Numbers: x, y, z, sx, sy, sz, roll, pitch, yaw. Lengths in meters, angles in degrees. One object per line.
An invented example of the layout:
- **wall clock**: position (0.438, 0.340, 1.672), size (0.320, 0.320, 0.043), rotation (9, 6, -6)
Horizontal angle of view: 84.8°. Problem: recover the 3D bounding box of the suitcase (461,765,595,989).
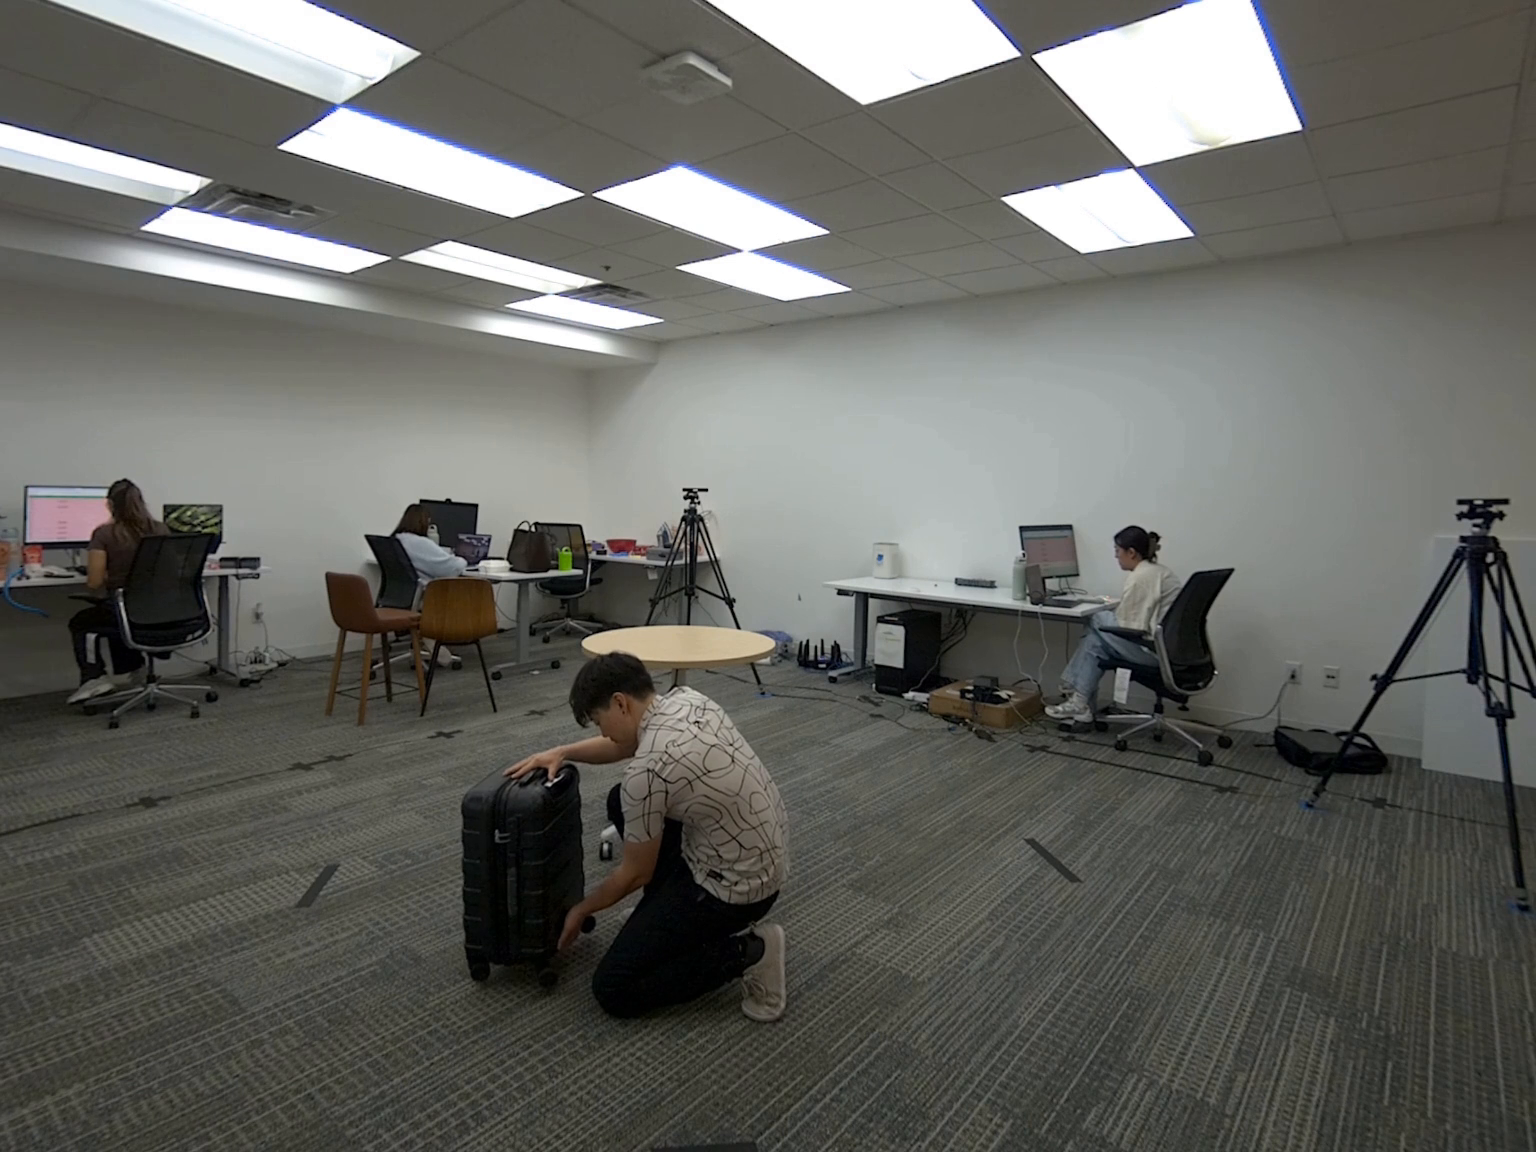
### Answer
- **suitcase**: position (-0.708, 0.832, 2.468), size (0.251, 0.547, 0.372), rotation (-2, 4, 11)
